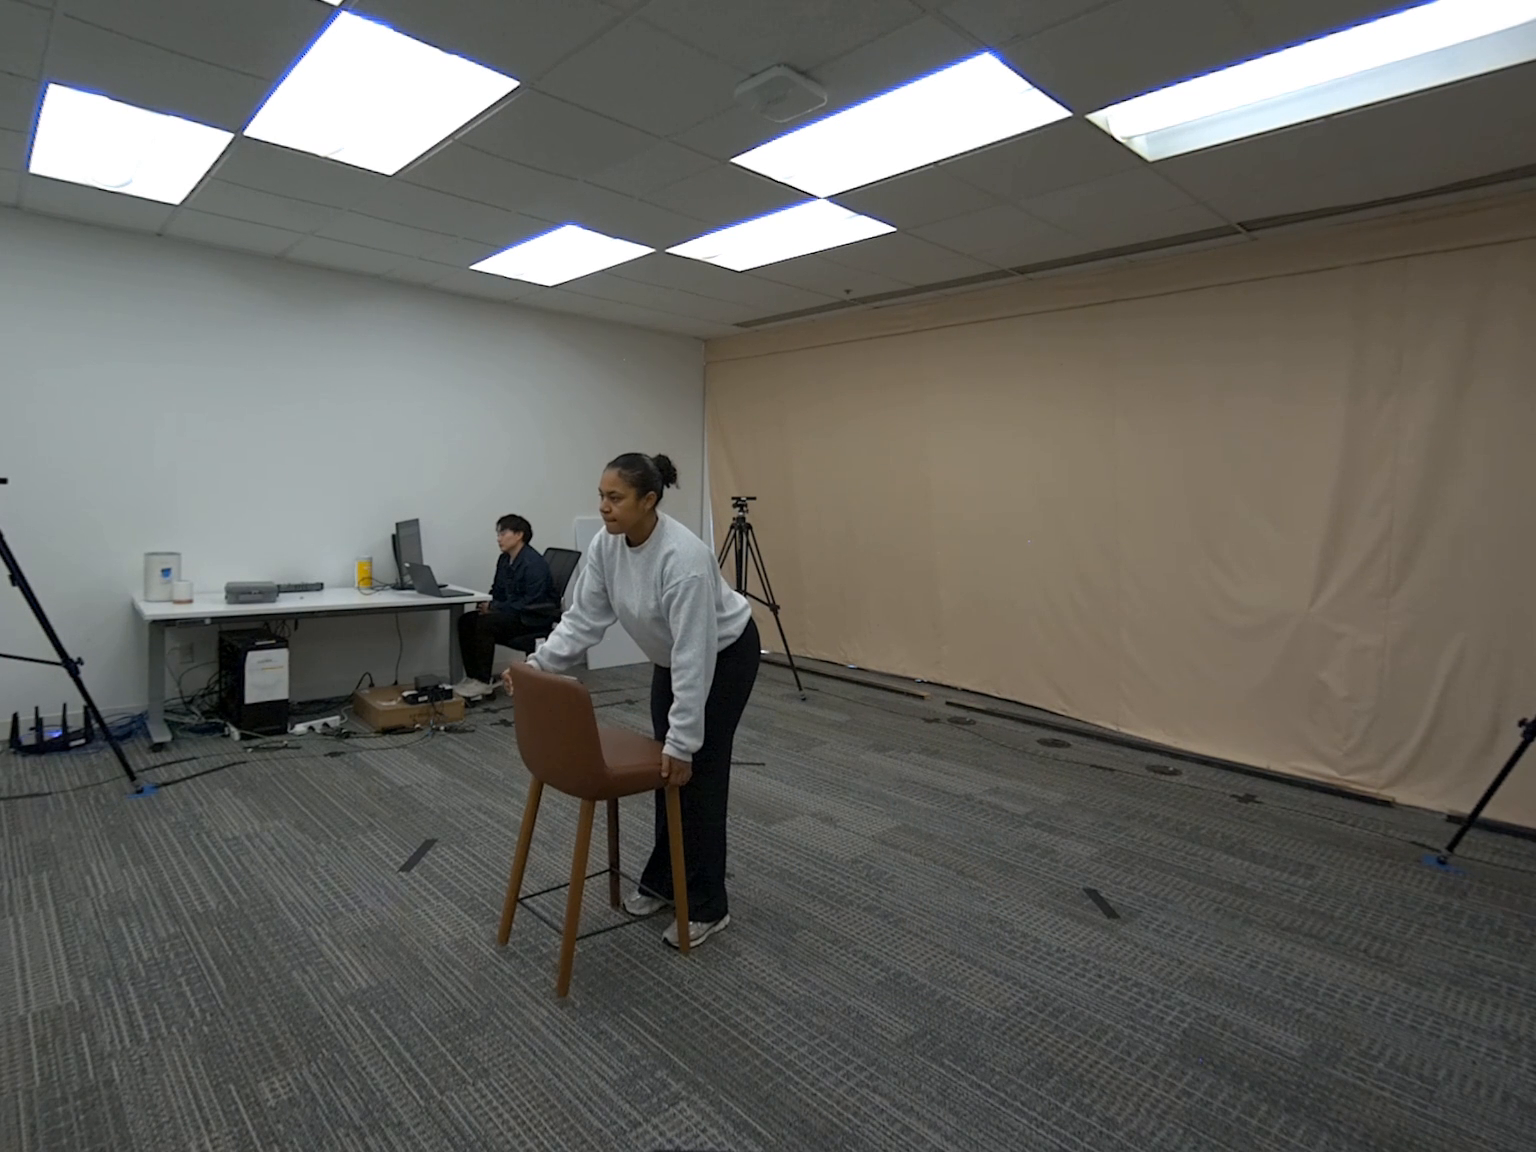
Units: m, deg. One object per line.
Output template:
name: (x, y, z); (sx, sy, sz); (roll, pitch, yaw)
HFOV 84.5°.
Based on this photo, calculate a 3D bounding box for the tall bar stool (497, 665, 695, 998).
tall bar stool: (-0.523, 0.698, 2.548); (0.457, 0.888, 0.468); (-1, 4, -43)
